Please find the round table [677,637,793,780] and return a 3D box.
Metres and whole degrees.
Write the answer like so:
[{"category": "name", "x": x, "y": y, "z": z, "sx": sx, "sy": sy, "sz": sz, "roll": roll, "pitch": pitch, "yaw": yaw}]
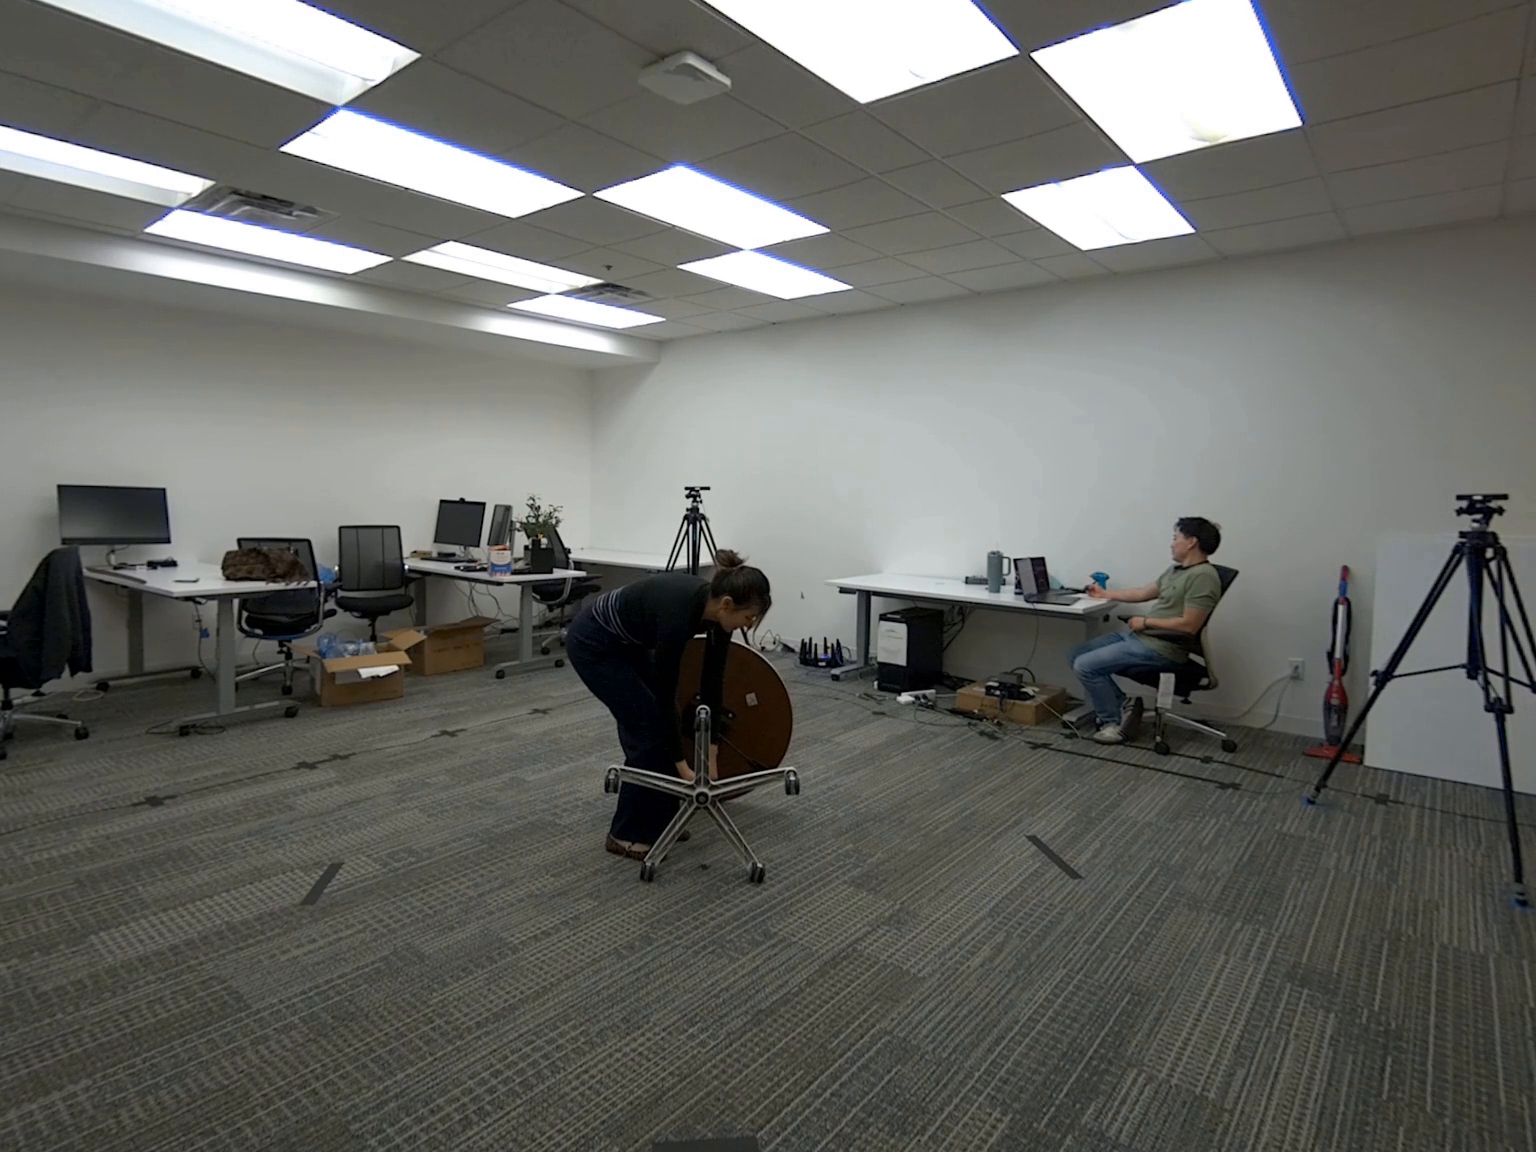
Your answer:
[{"category": "round table", "x": -0.264, "y": 0.712, "z": 3.315, "sx": 0.764, "sy": 0.756, "sz": 0.803, "roll": 1, "pitch": 12, "yaw": -1}]
